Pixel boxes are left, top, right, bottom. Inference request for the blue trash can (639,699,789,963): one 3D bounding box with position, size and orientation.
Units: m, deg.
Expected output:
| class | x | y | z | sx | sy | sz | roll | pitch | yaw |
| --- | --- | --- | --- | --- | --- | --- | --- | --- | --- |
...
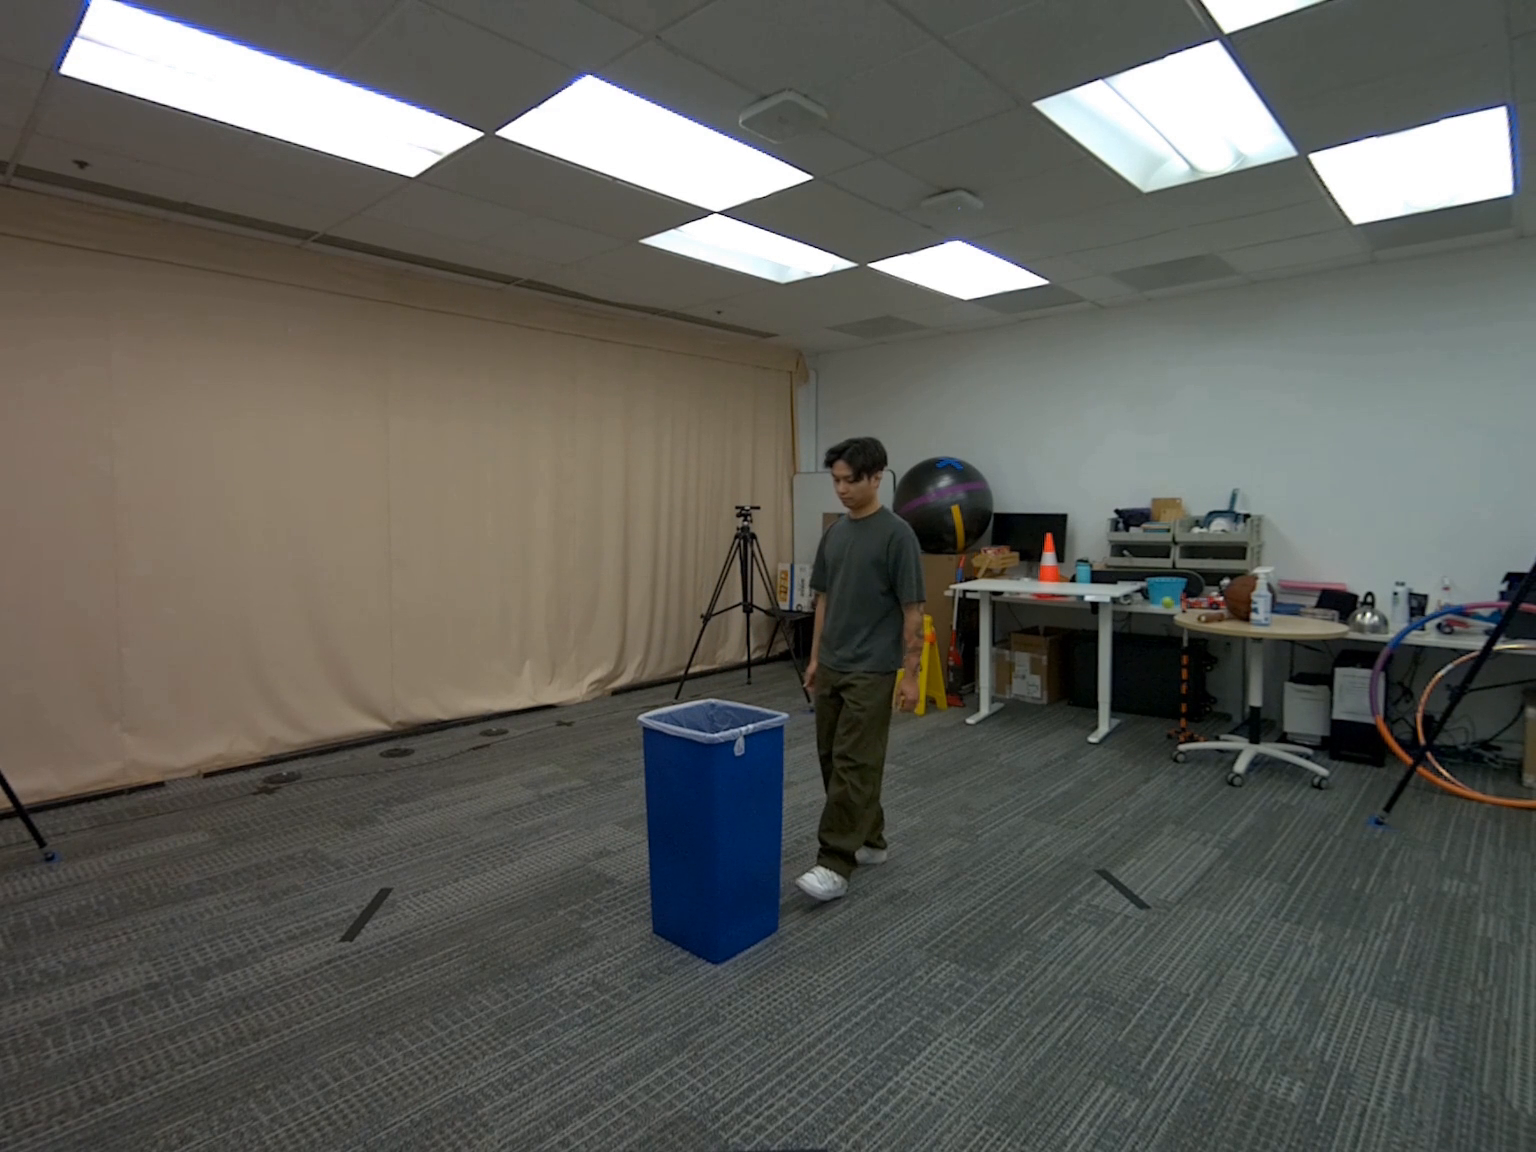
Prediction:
| class | x | y | z | sx | sy | sz | roll | pitch | yaw |
| --- | --- | --- | --- | --- | --- | --- | --- | --- | --- |
| blue trash can | -0.173 | 0.809 | 2.735 | 0.390 | 0.712 | 0.362 | 2 | 3 | 42 |
